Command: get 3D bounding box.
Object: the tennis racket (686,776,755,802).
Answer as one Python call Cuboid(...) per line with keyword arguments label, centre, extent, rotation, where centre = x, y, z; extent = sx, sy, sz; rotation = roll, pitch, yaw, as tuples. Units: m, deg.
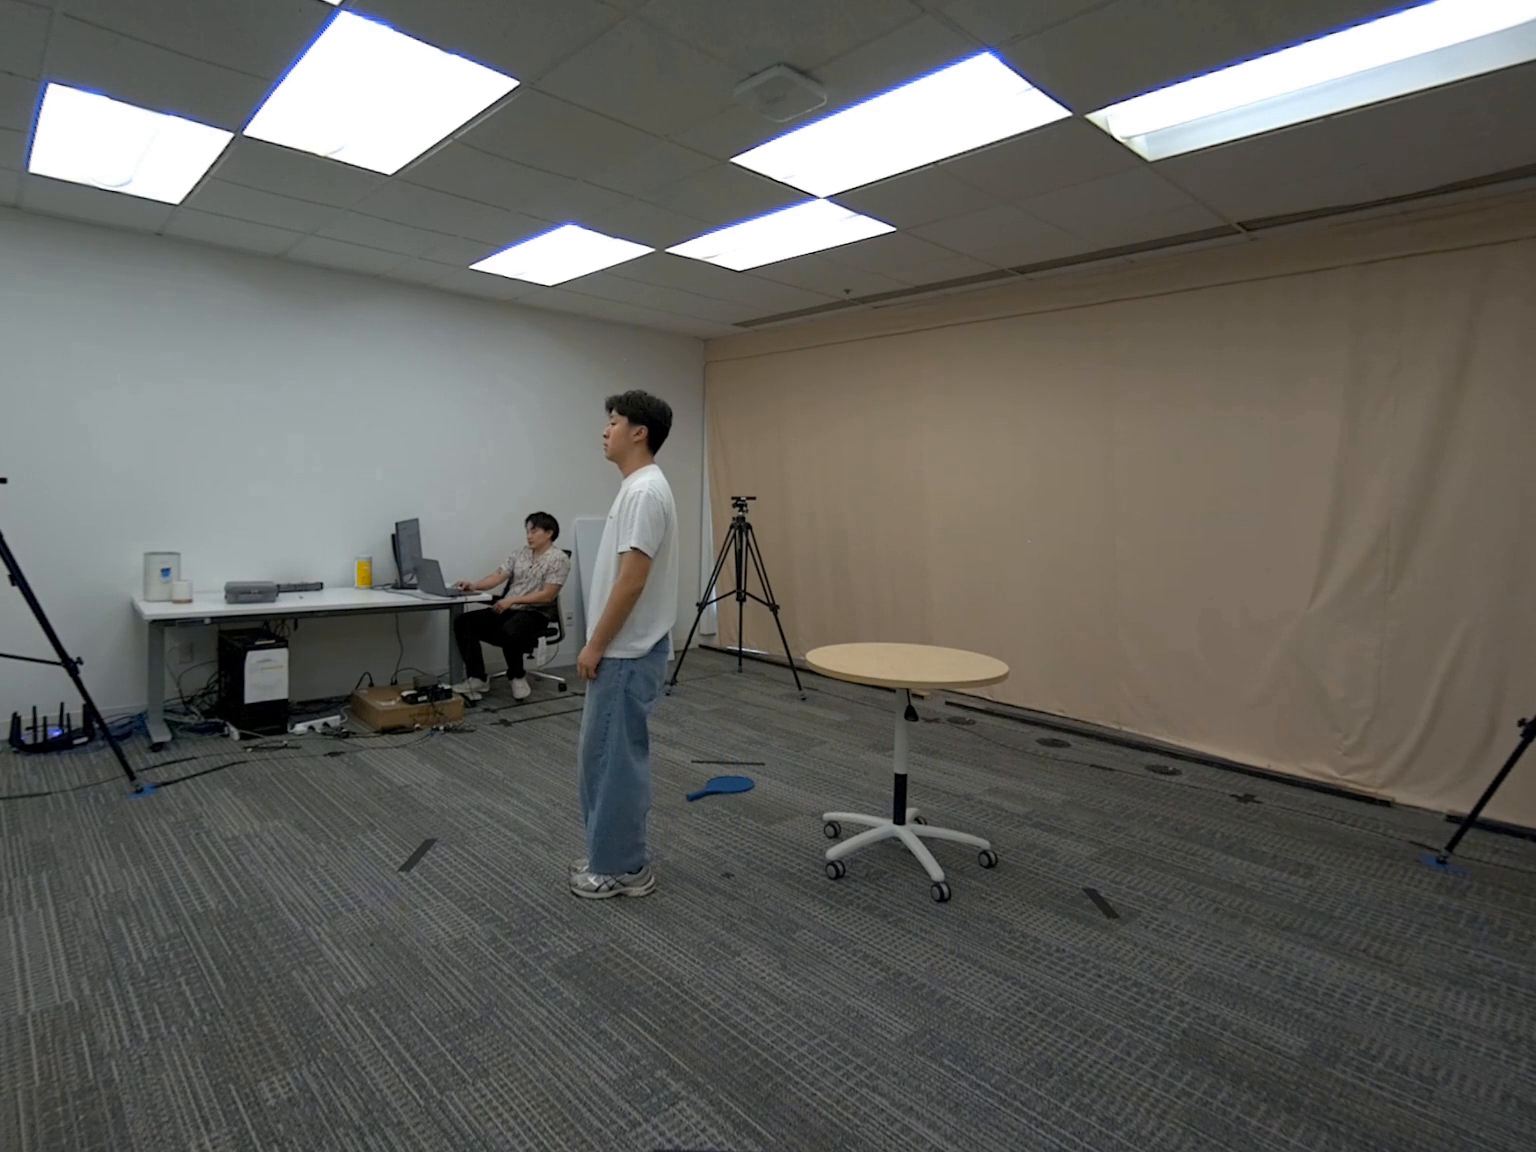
Cuboid(label="tennis racket", centre=(-0.247, 1.009, 4.023), extent=(0.219, 0.032, 0.423), rotation=(6, 5, 39))
